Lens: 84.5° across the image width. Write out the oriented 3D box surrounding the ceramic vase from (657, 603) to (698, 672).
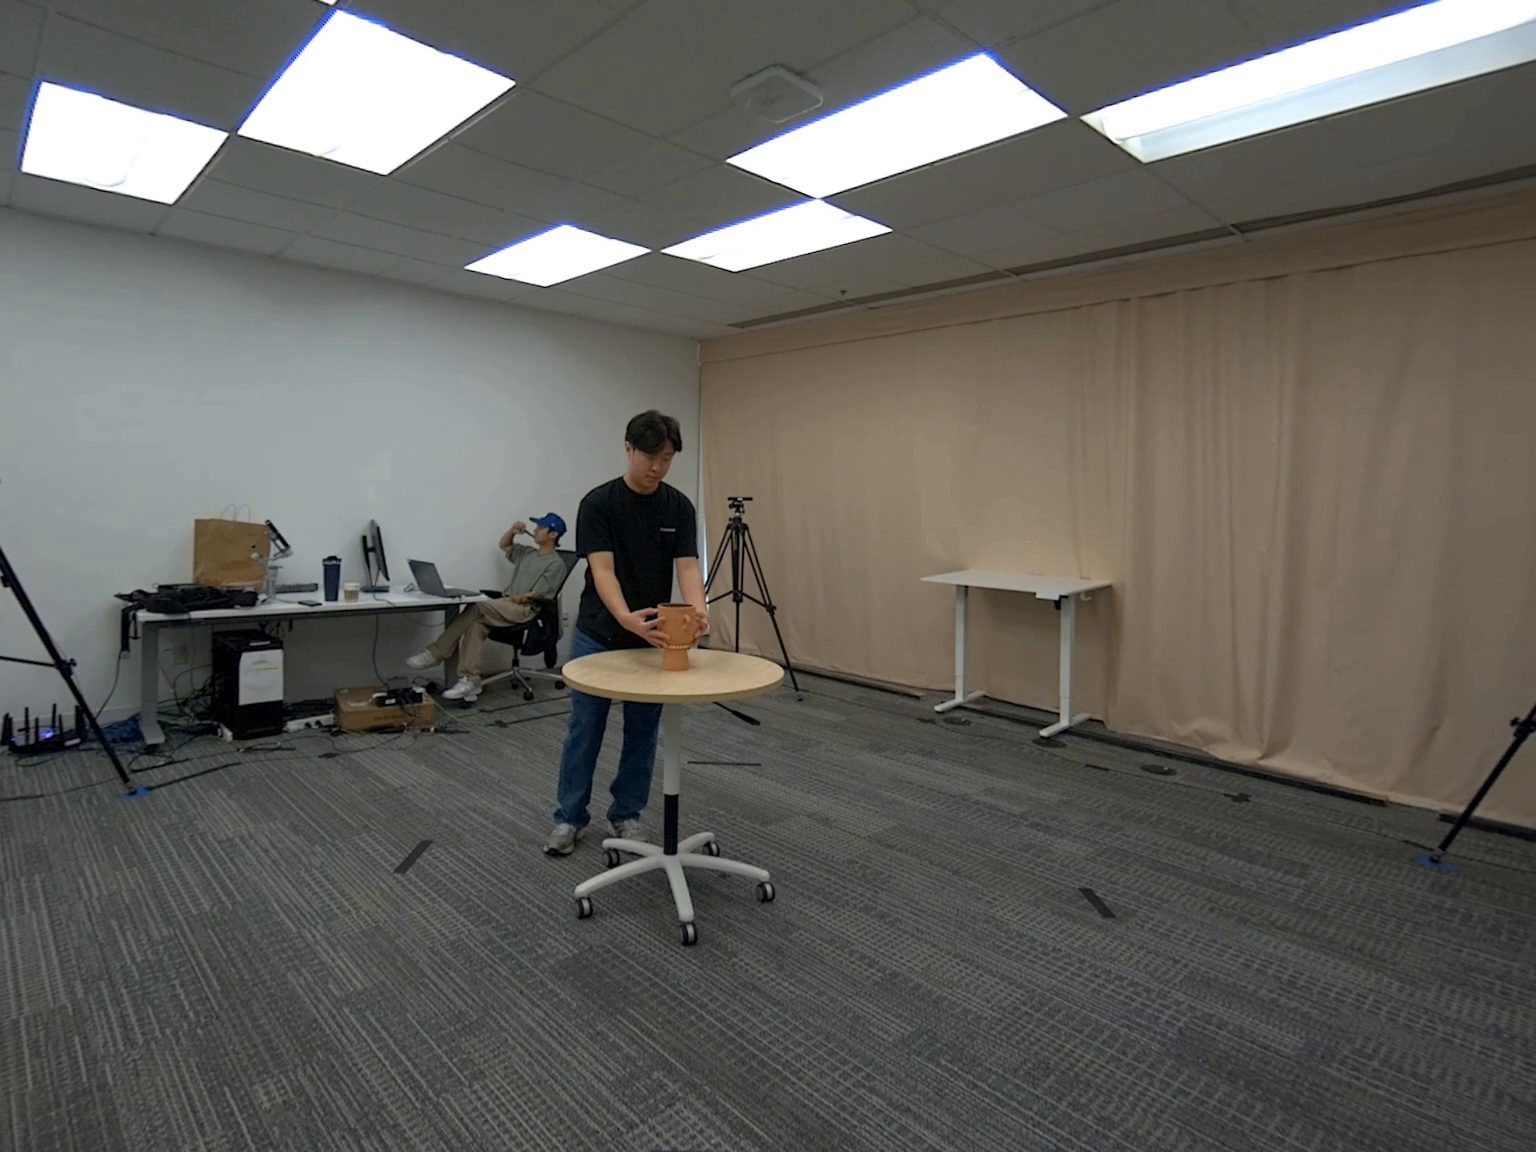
[{"bbox_3d":[-0.327,0.214,2.918,0.135,0.219,0.158,1,4,8],"label":"ceramic vase"}]
